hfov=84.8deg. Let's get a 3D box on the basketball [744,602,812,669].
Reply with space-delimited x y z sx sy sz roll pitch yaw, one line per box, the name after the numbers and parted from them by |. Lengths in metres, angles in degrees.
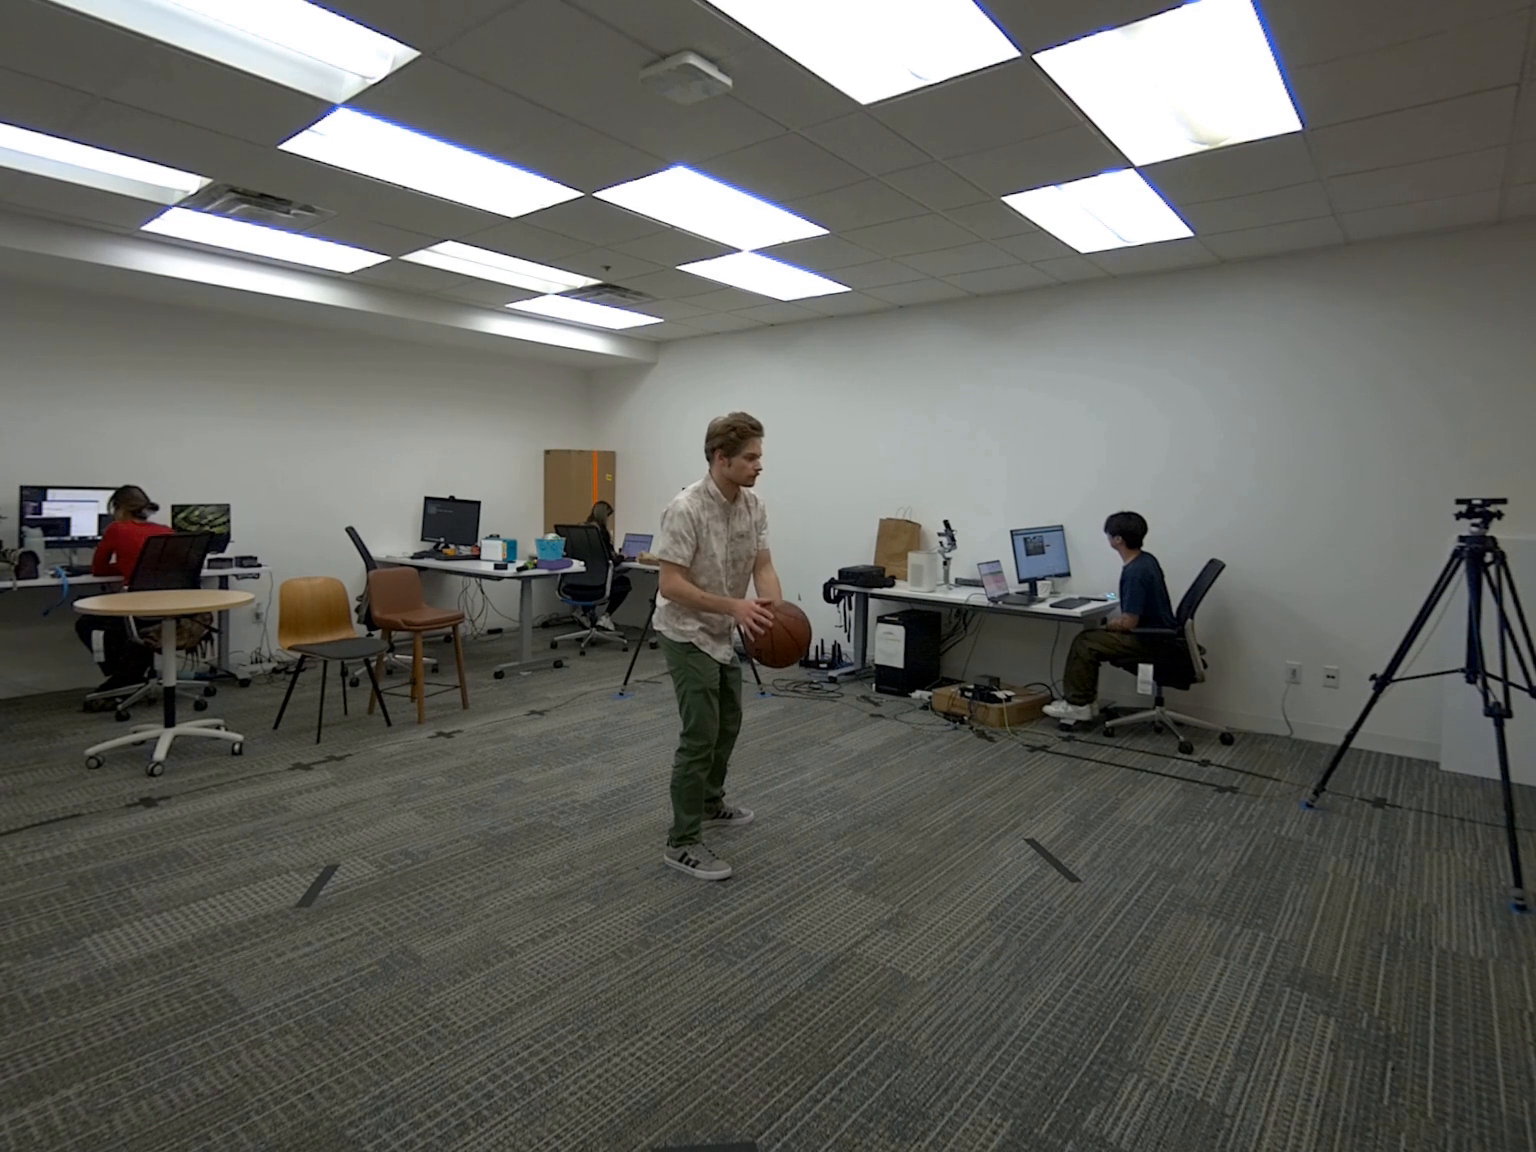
0.019 0.195 2.974 0.236 0.235 0.237 1 4 -2 | basketball
